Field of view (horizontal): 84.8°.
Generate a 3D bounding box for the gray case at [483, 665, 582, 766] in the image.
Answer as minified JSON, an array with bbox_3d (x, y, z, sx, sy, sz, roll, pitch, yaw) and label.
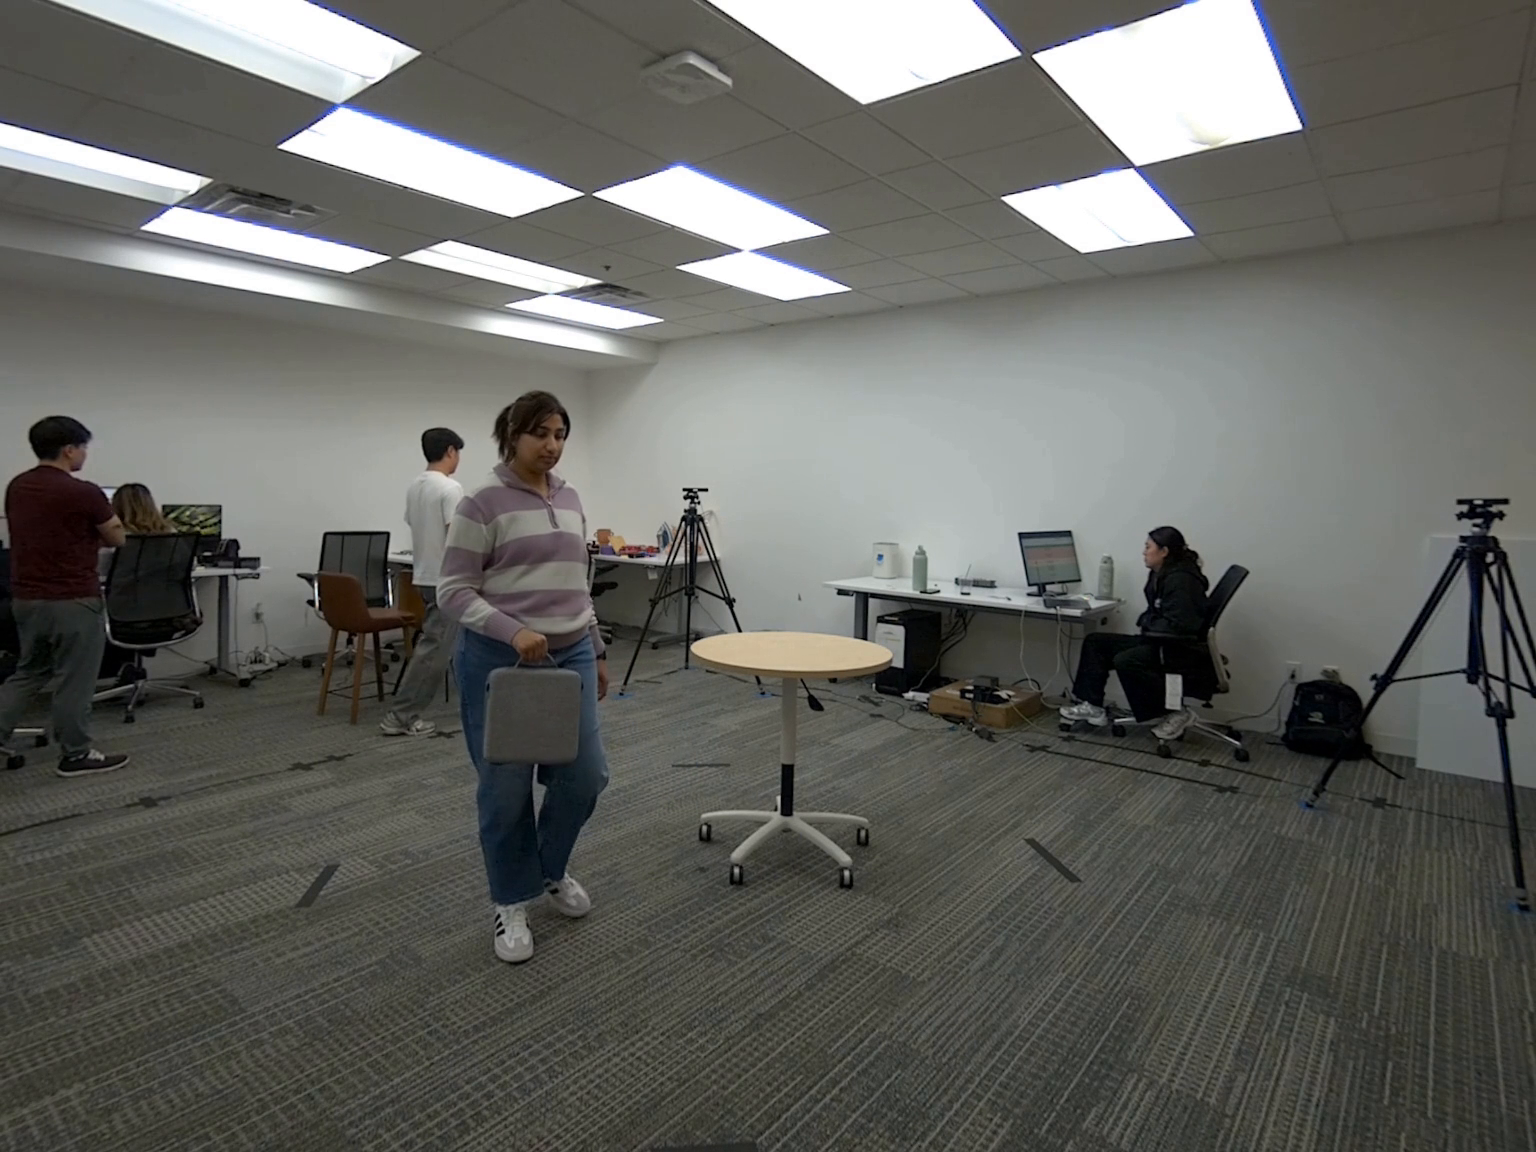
[{"bbox_3d":[-0.650,0.376,2.336,0.252,0.263,0.105,2,-8,-19],"label":"gray case"}]
